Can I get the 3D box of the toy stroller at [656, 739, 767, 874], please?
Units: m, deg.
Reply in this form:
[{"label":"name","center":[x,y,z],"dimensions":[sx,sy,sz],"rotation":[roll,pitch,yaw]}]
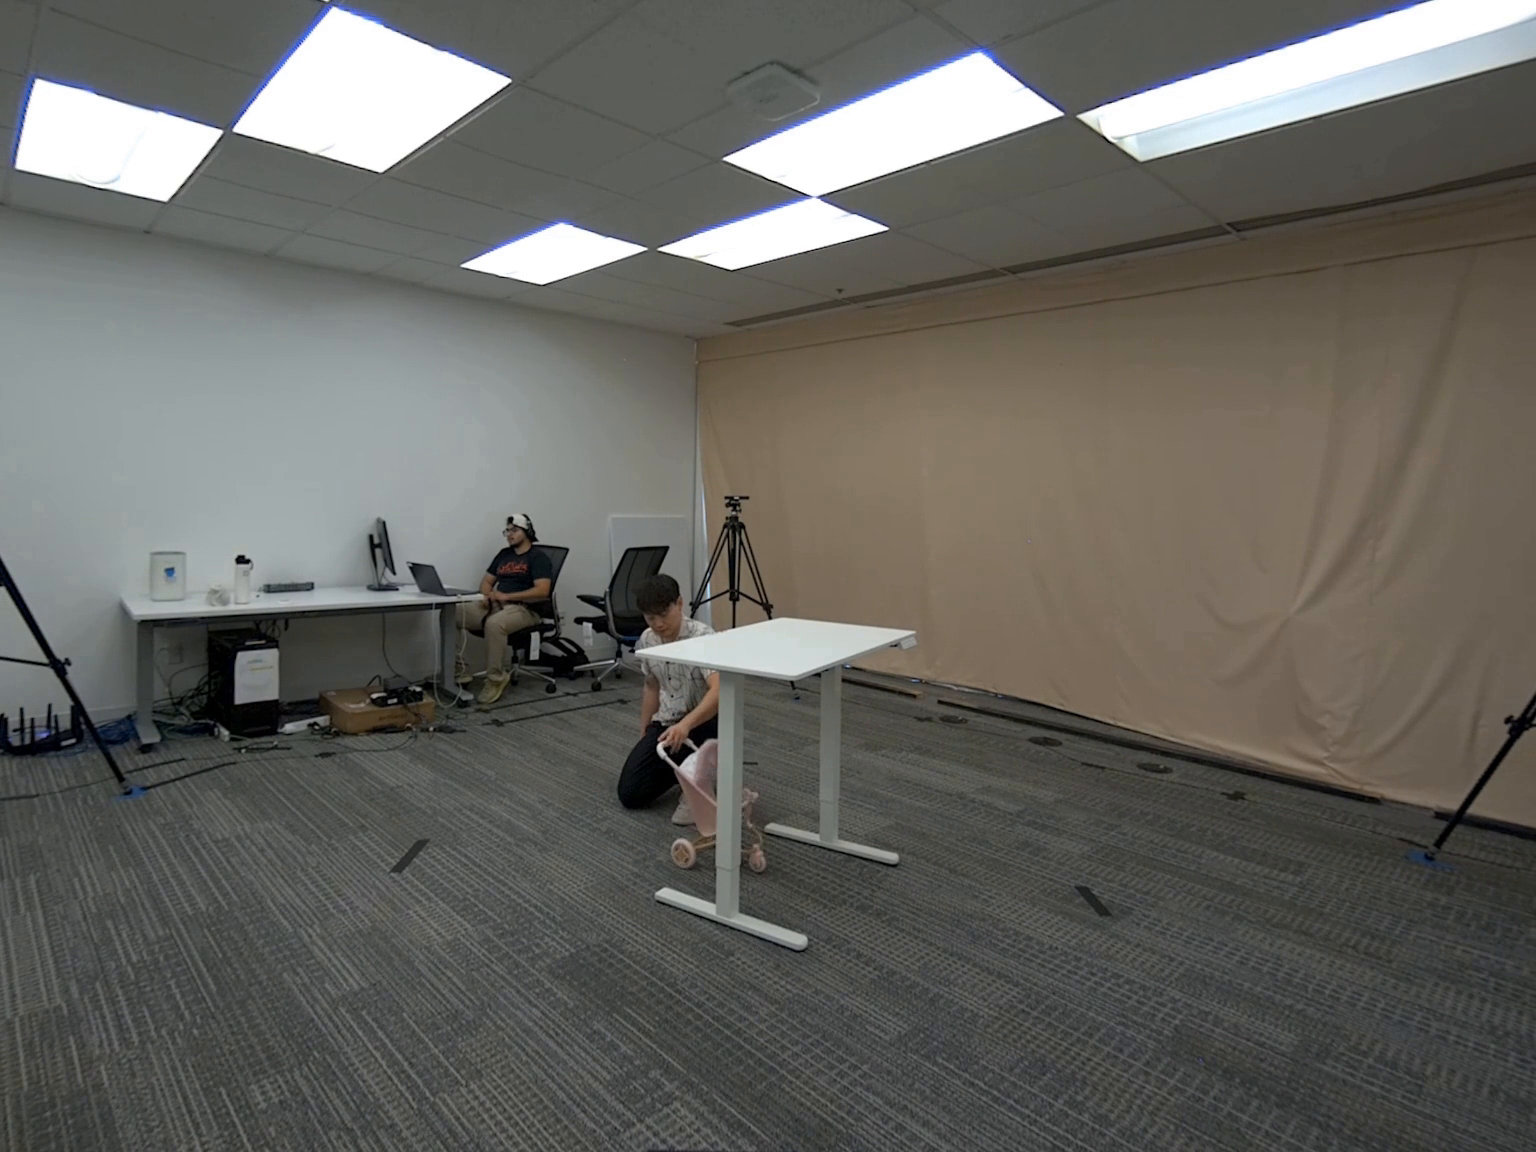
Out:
[{"label":"toy stroller","center":[-0.211,0.866,3.216],"dimensions":[0.347,0.538,0.275],"rotation":[-15,-6,32]}]
